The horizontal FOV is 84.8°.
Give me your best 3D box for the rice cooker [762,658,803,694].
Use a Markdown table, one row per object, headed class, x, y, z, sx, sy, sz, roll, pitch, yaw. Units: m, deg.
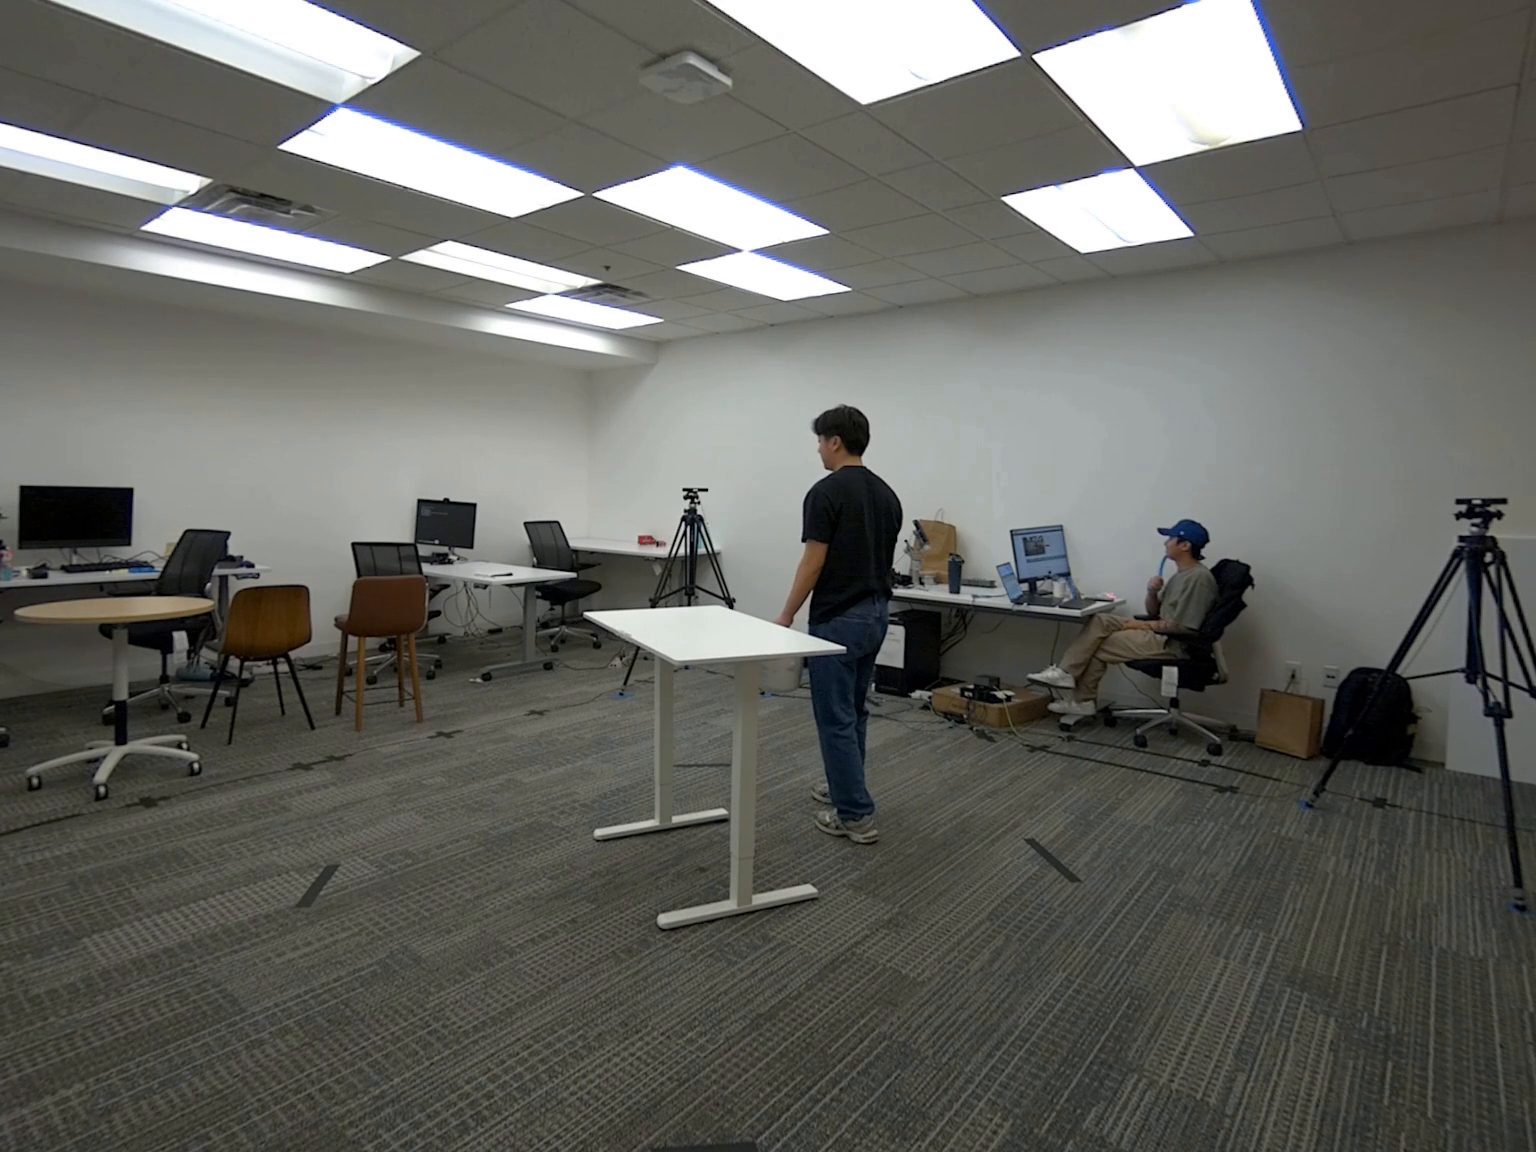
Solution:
| class | x | y | z | sx | sy | sz | roll | pitch | yaw |
| --- | --- | --- | --- | --- | --- | --- | --- | --- | --- |
| rice cooker | 0.042 | 0.346 | 3.526 | 0.212 | 0.231 | 0.228 | 2 | 12 | -26 |
